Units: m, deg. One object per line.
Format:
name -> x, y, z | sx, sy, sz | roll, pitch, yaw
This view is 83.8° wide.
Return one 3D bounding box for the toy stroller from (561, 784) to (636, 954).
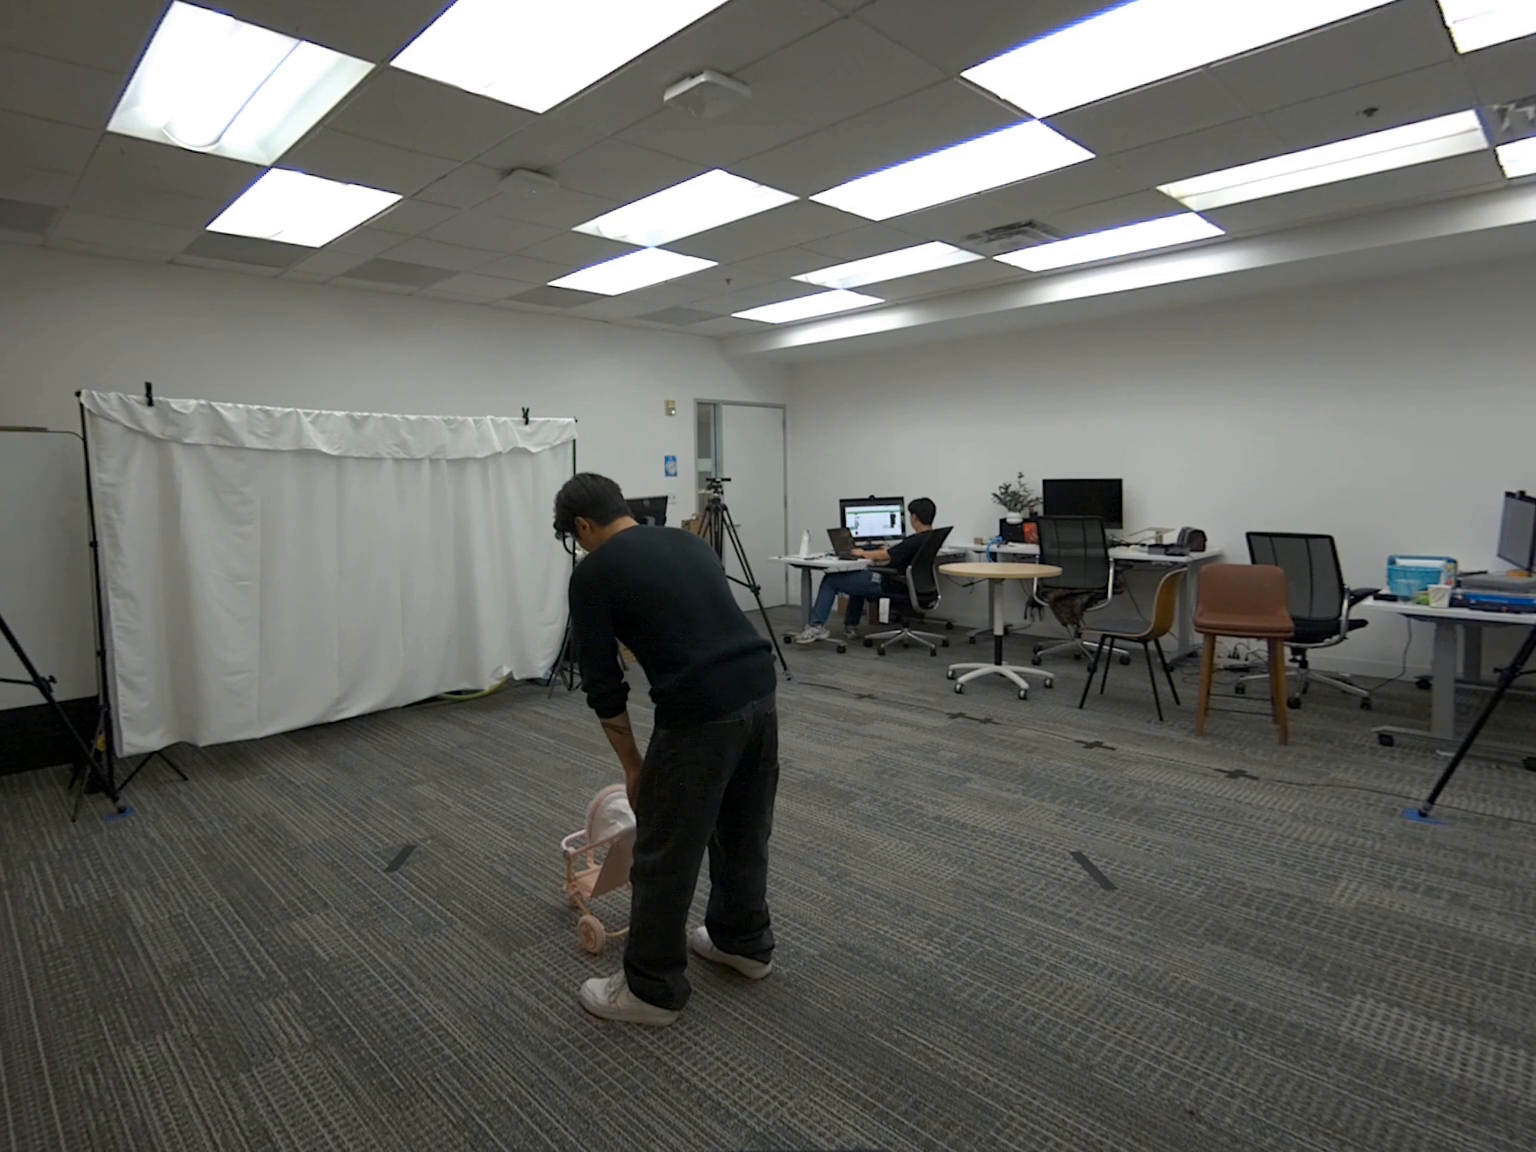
toy stroller -> -0.485, 0.882, 2.659 | 0.274, 0.529, 0.355 | -4, 24, -42
